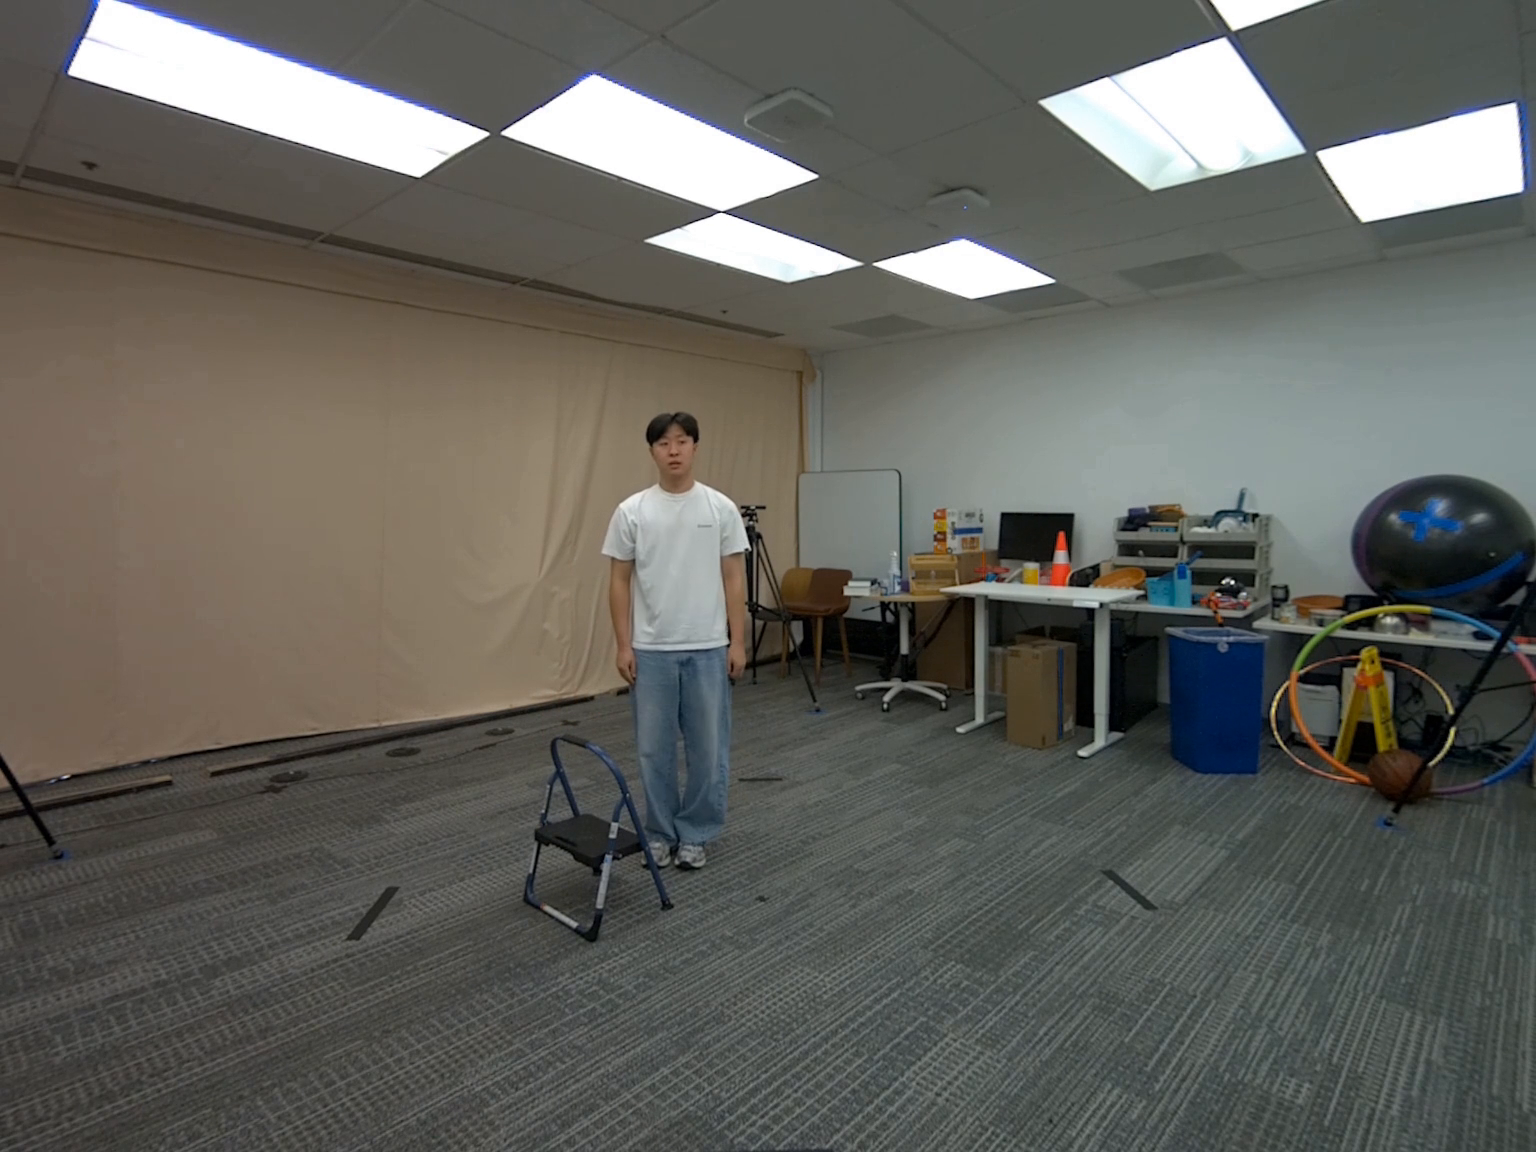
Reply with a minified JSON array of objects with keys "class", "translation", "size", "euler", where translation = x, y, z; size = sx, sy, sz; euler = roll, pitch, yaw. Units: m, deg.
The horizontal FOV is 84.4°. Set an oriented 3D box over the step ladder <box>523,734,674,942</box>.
[{"class":"step ladder","translation":[-0.604,0.847,2.934],"size":[0.445,0.605,0.338],"euler":[2,4,43]}]
